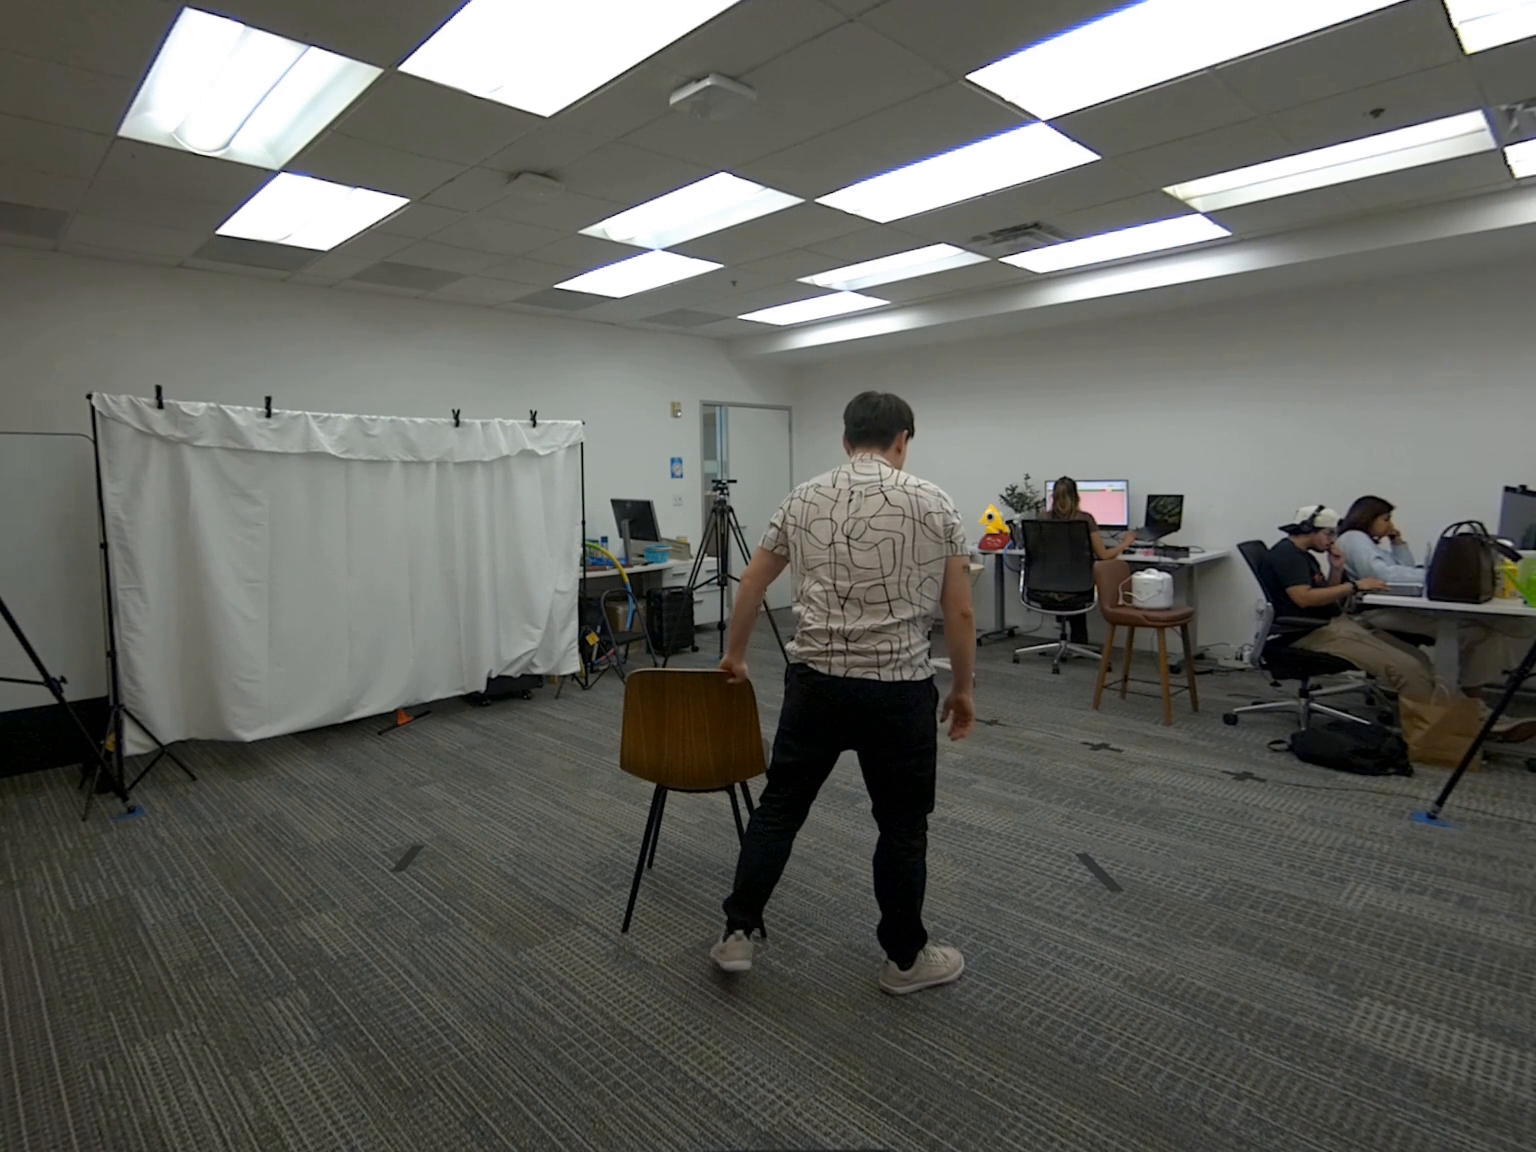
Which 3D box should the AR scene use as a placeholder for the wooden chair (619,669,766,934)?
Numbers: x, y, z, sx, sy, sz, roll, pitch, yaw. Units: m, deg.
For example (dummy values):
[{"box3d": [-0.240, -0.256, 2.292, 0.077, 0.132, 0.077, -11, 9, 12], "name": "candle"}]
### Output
[{"box3d": [-0.228, 0.656, 2.828, 0.480, 0.870, 0.525, -1, 9, 4], "name": "wooden chair"}]
